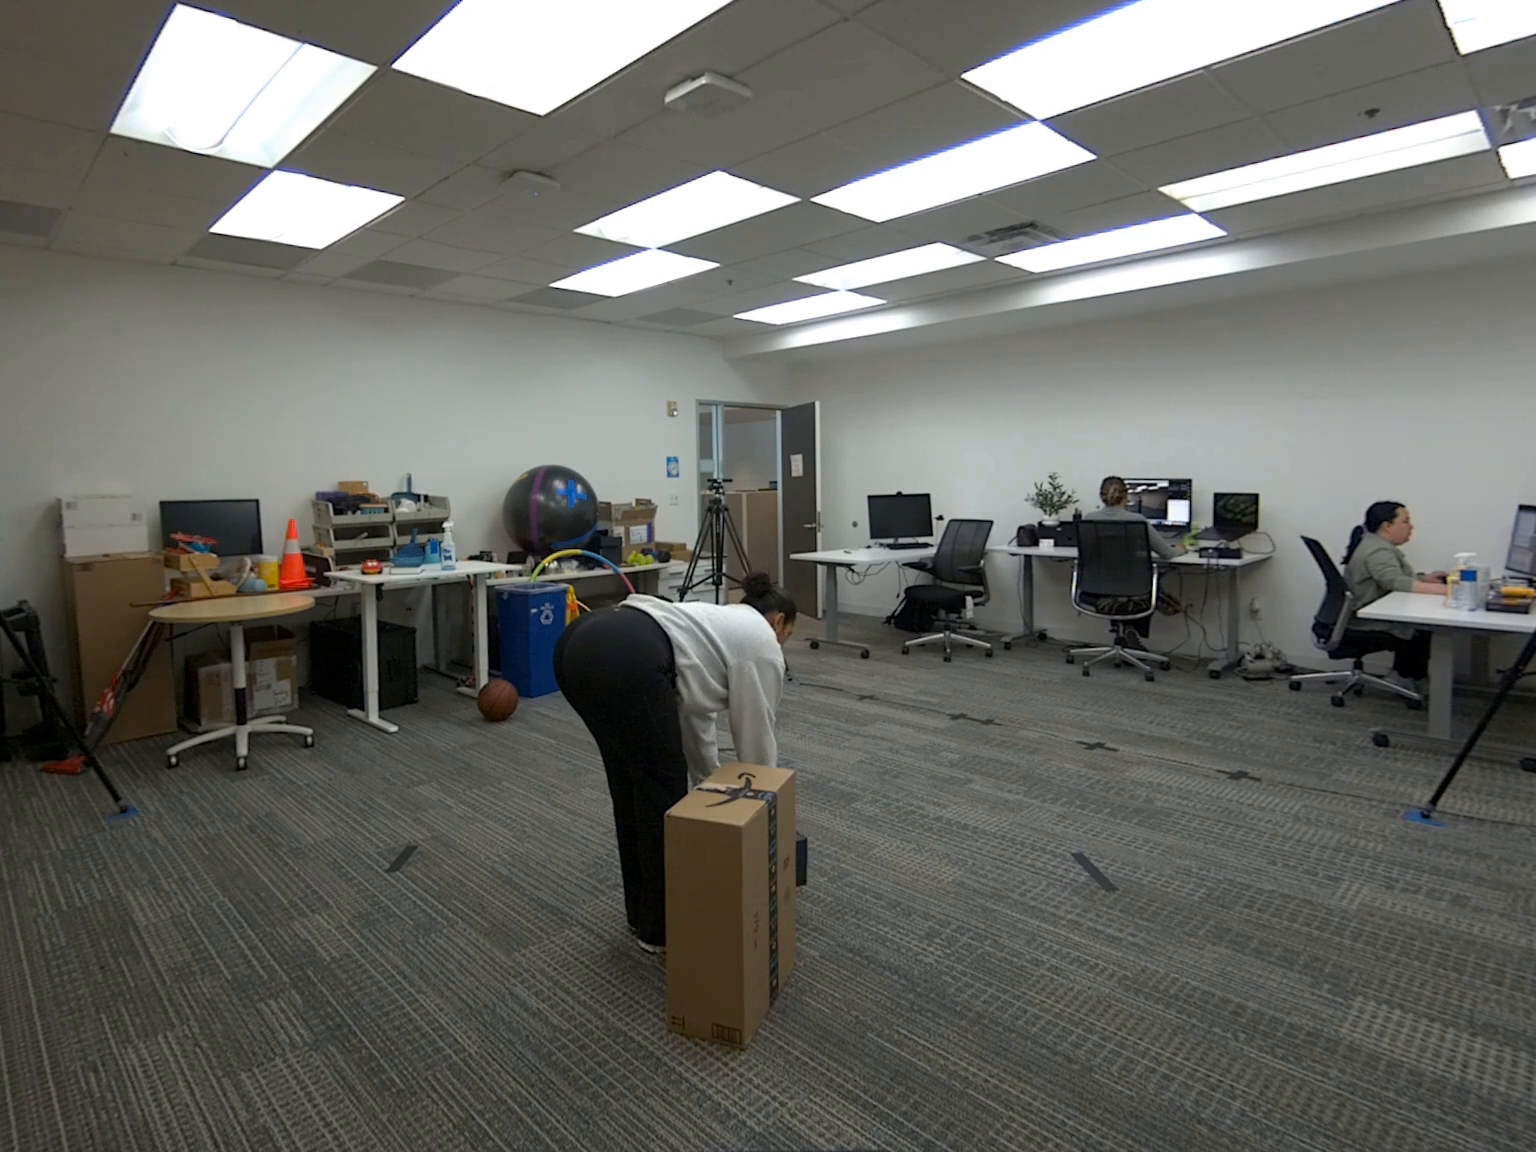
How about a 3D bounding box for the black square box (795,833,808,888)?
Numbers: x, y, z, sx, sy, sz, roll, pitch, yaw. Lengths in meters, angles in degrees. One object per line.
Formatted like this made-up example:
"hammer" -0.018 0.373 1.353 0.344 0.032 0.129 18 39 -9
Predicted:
"black square box" -0.008 0.920 2.827 0.222 0.155 0.223 -4 7 -34
